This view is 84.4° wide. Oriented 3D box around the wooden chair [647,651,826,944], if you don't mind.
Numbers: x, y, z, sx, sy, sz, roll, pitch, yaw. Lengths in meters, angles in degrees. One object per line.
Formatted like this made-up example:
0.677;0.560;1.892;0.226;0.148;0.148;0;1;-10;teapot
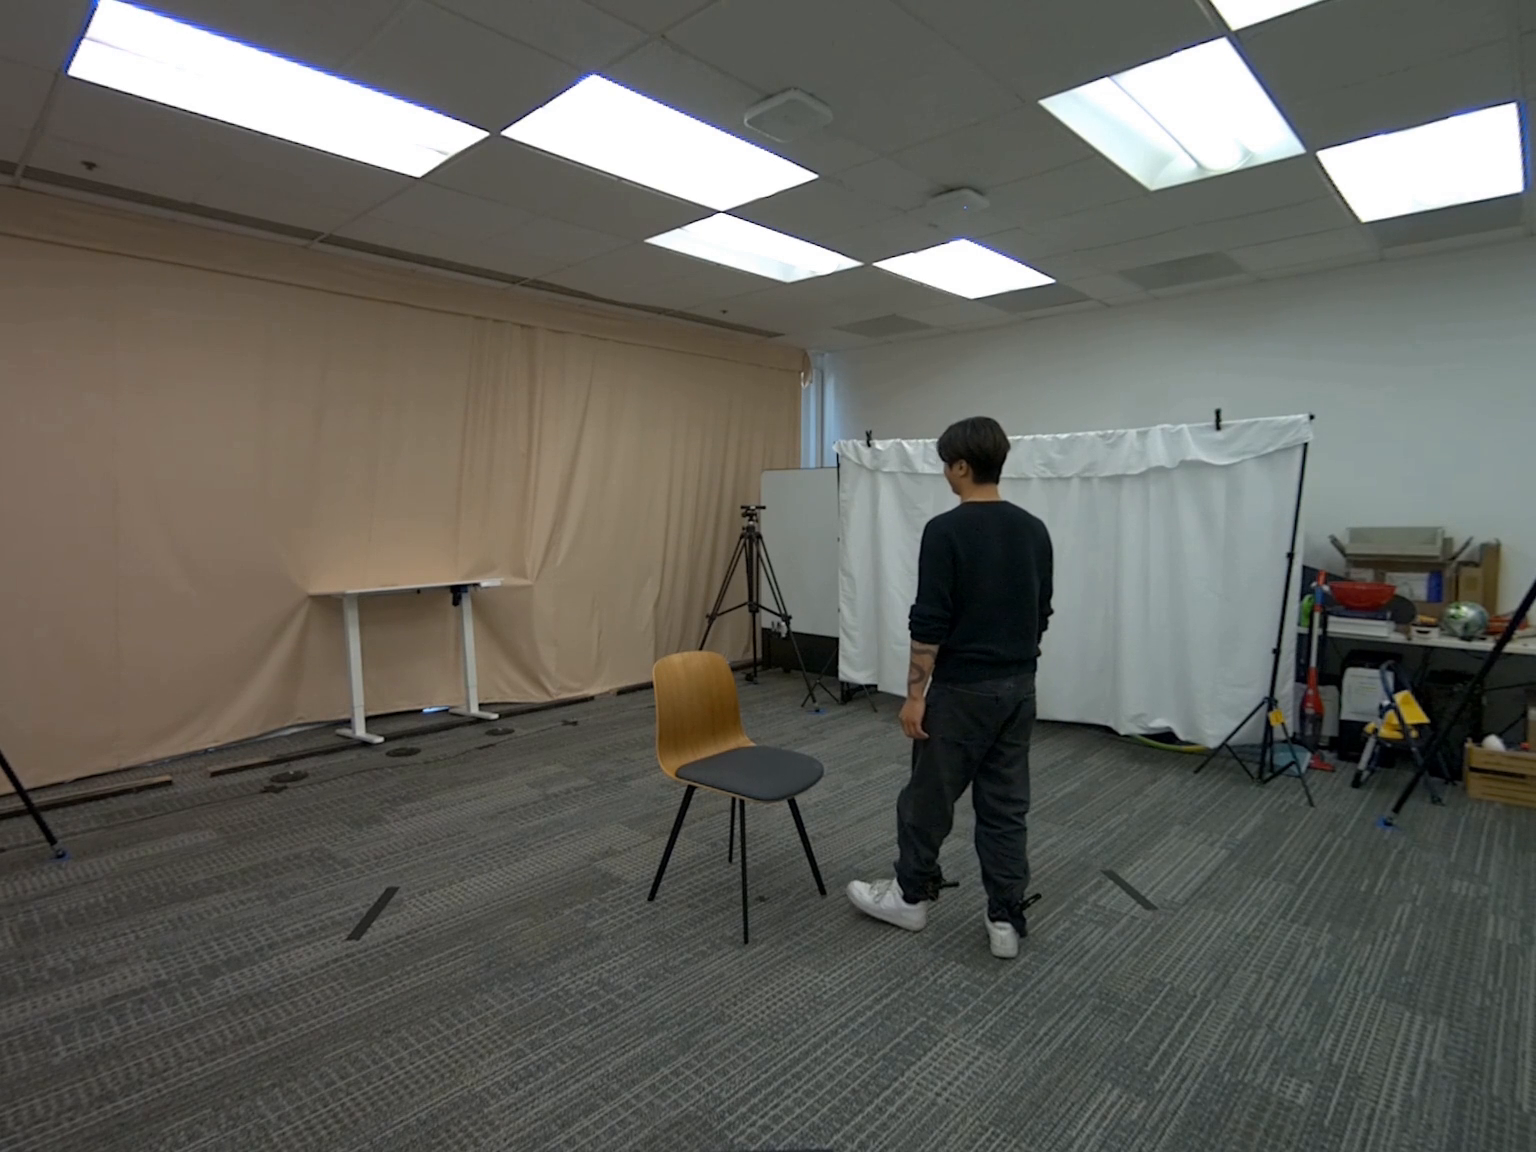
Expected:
-0.101;0.720;2.953;0.539;0.877;0.463;-3;0;40;wooden chair
